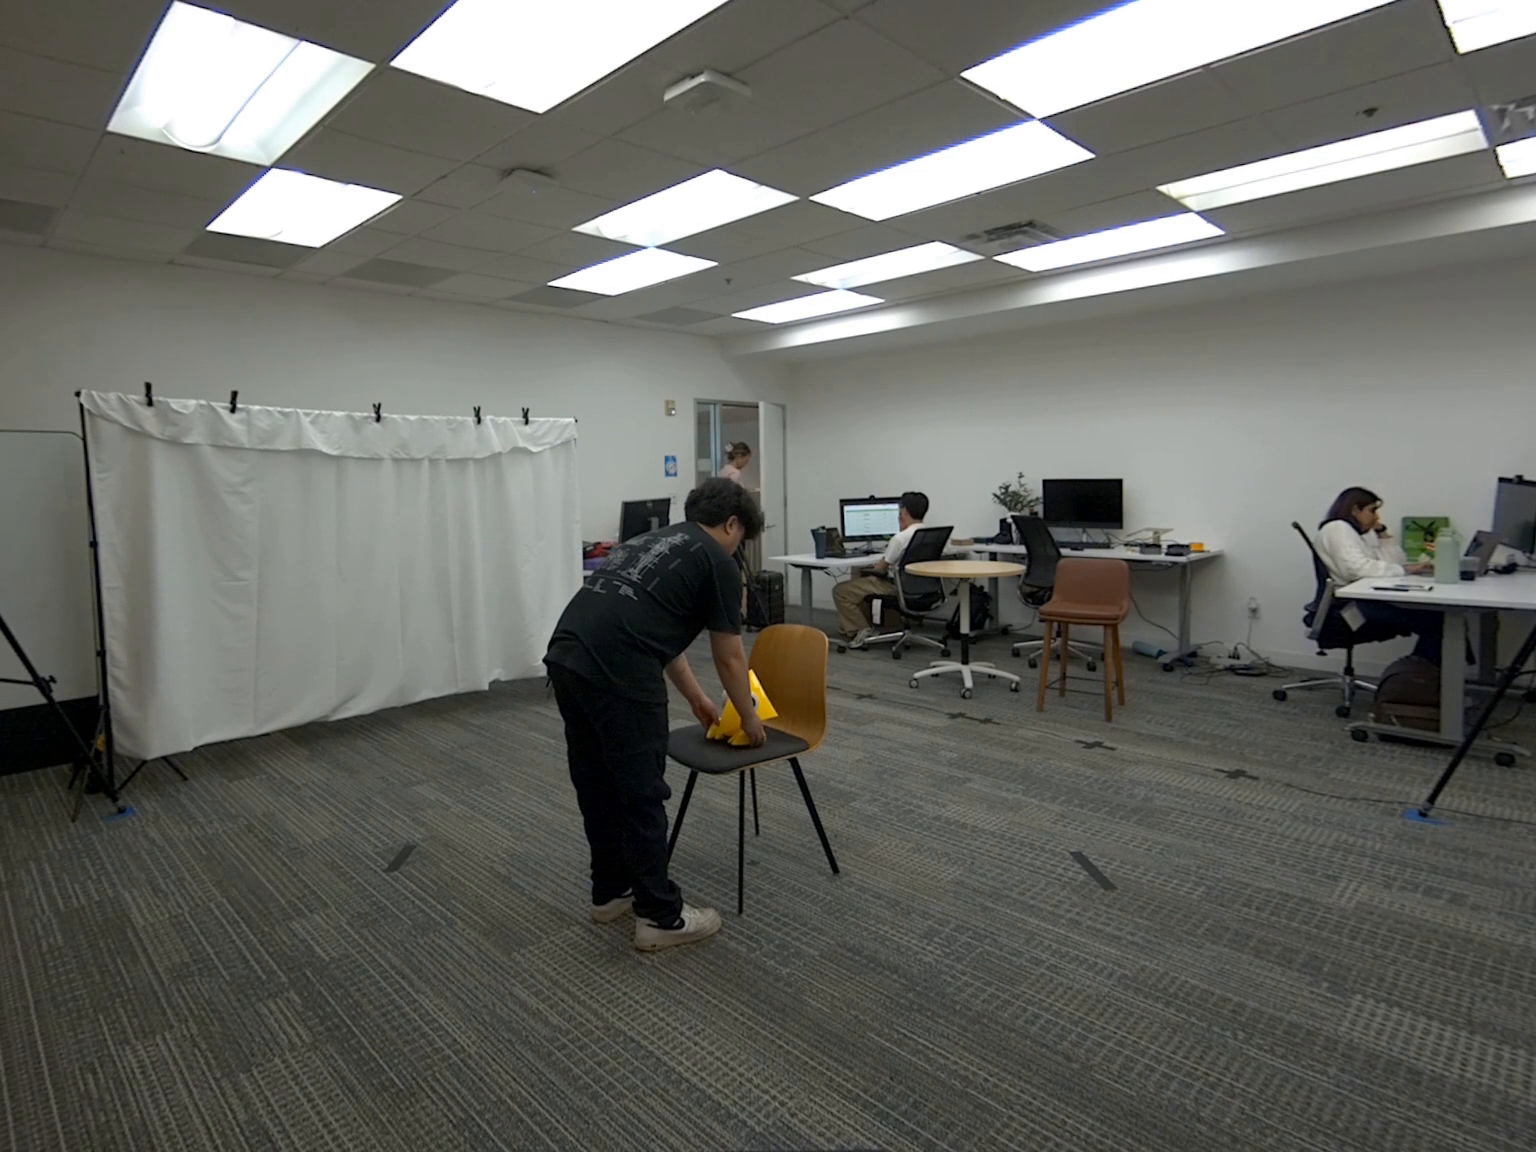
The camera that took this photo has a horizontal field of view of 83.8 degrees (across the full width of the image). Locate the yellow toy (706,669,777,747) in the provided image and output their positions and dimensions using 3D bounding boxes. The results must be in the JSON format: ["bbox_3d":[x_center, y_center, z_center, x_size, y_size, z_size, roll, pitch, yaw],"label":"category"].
[{"bbox_3d":[-0.090,0.447,2.990,0.187,0.231,0.211,1,1,-45],"label":"yellow toy"}]
